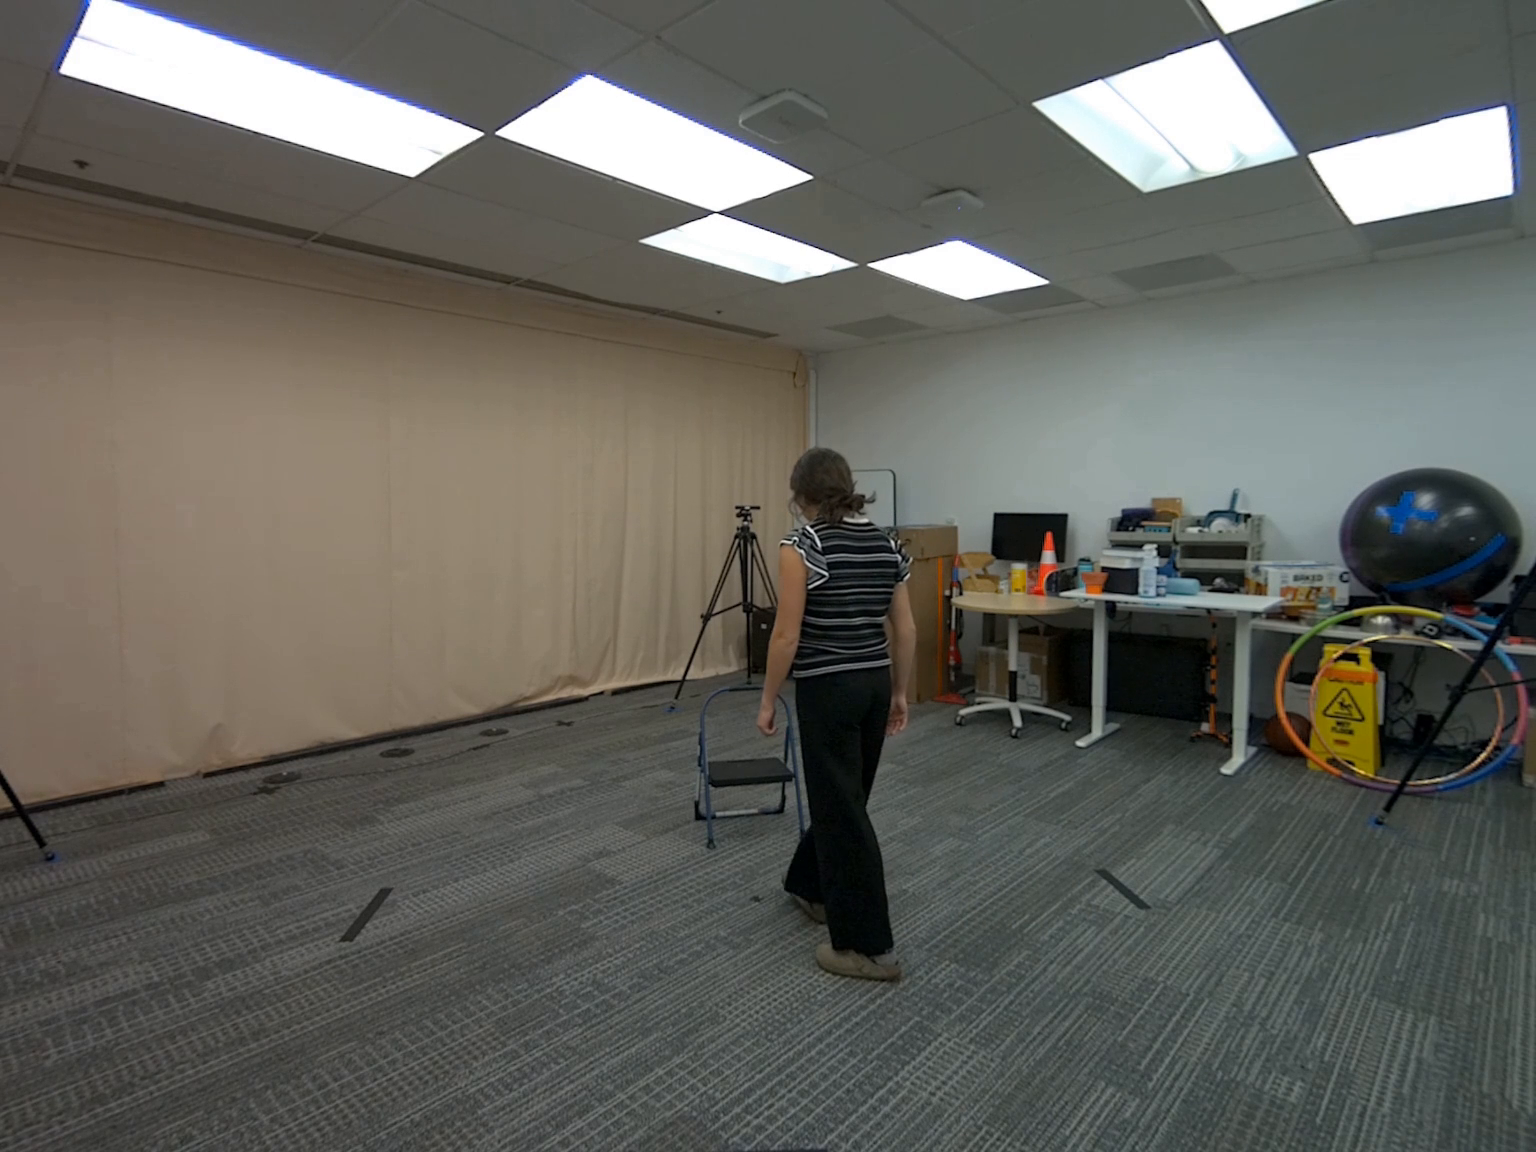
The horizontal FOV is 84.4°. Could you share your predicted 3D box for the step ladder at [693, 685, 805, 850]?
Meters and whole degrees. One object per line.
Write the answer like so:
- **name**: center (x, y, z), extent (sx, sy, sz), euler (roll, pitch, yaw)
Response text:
- **step ladder**: center (-0.082, 0.792, 3.623), extent (0.425, 0.605, 0.355), euler (-1, 3, -14)
